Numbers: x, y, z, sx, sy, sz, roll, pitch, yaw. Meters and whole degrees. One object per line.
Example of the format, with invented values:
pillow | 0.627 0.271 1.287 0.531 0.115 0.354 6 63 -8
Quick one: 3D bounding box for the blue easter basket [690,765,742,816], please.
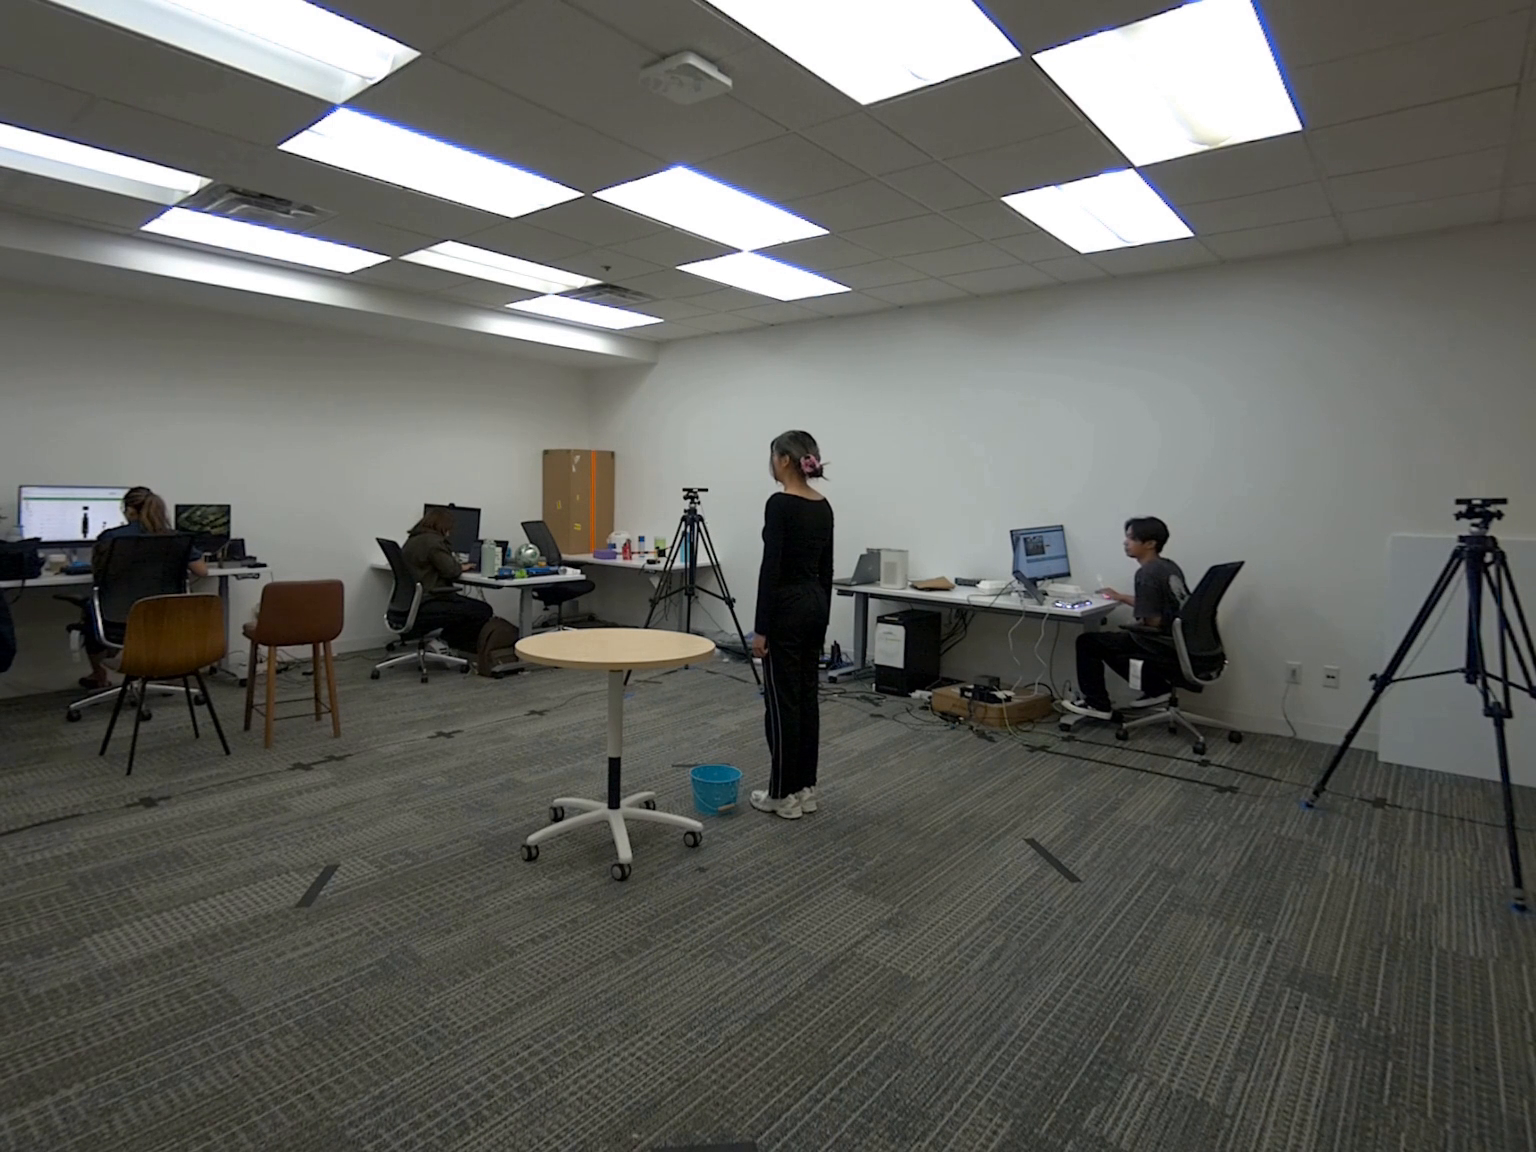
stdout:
blue easter basket | -0.240 0.936 3.731 0.243 0.155 0.245 1 5 -2
